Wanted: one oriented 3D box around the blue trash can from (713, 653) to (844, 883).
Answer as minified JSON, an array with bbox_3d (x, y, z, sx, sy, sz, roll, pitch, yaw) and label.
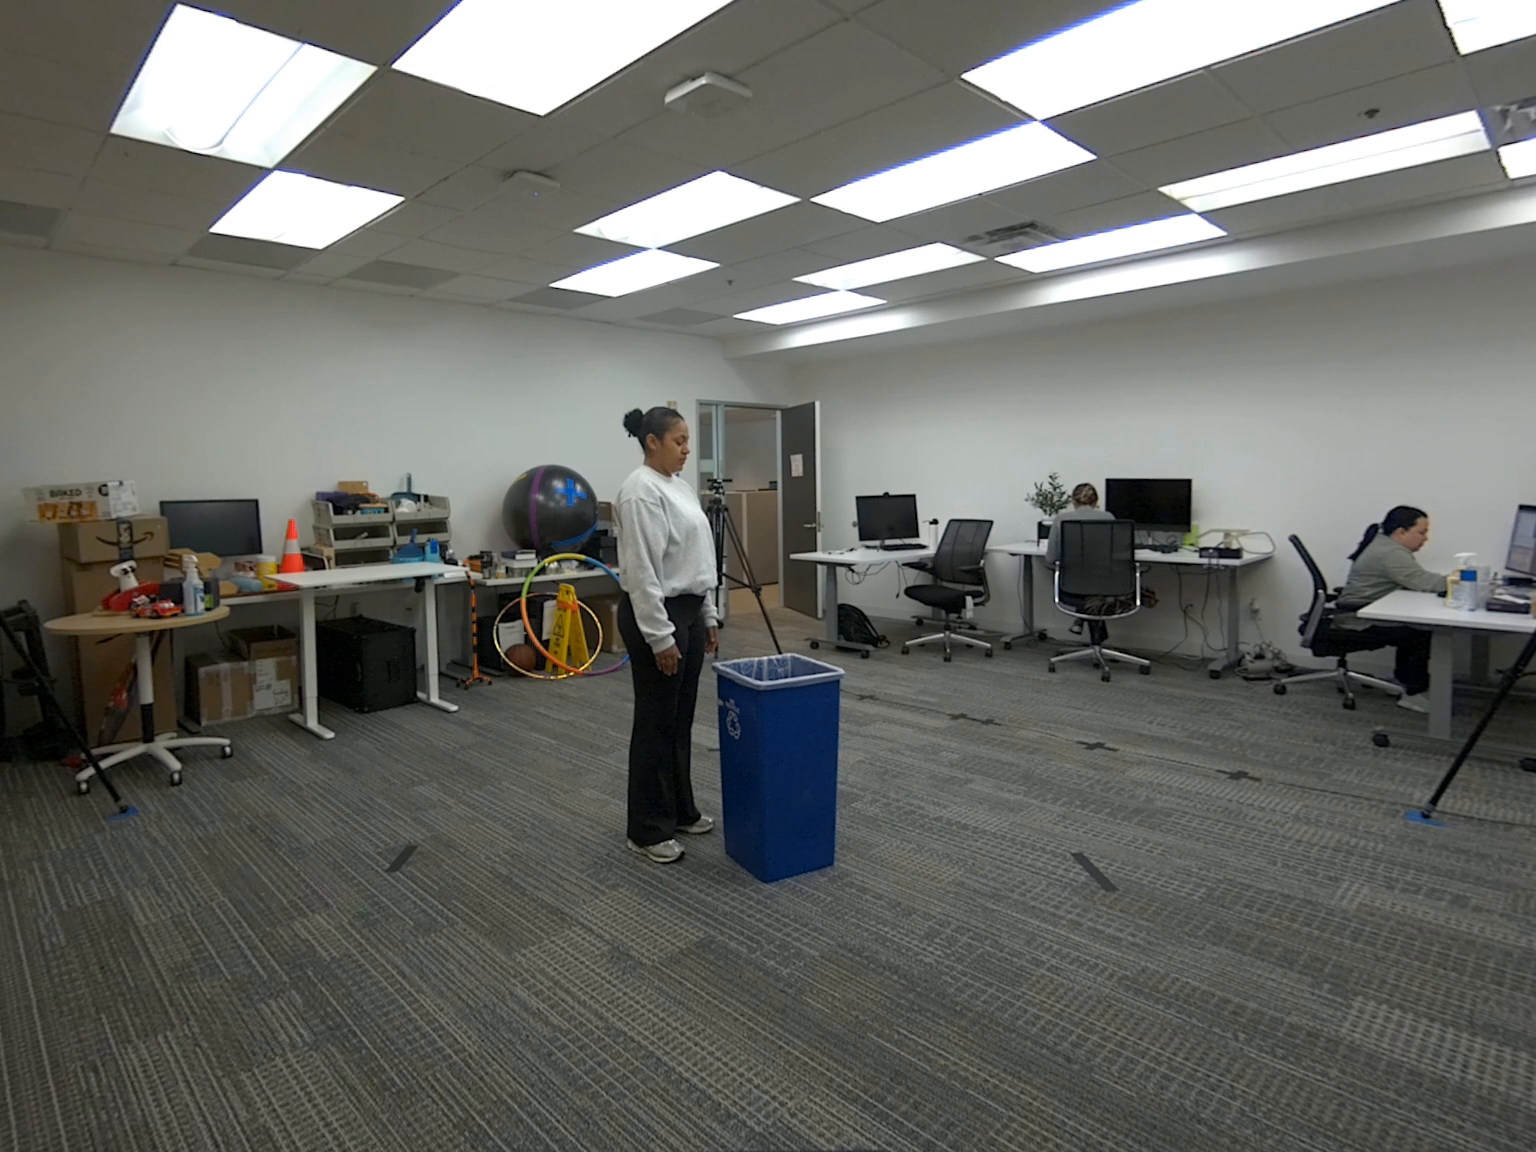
[{"bbox_3d":[0.033,0.686,3.111,0.365,0.711,0.389,-2,5,-32],"label":"blue trash can"}]
